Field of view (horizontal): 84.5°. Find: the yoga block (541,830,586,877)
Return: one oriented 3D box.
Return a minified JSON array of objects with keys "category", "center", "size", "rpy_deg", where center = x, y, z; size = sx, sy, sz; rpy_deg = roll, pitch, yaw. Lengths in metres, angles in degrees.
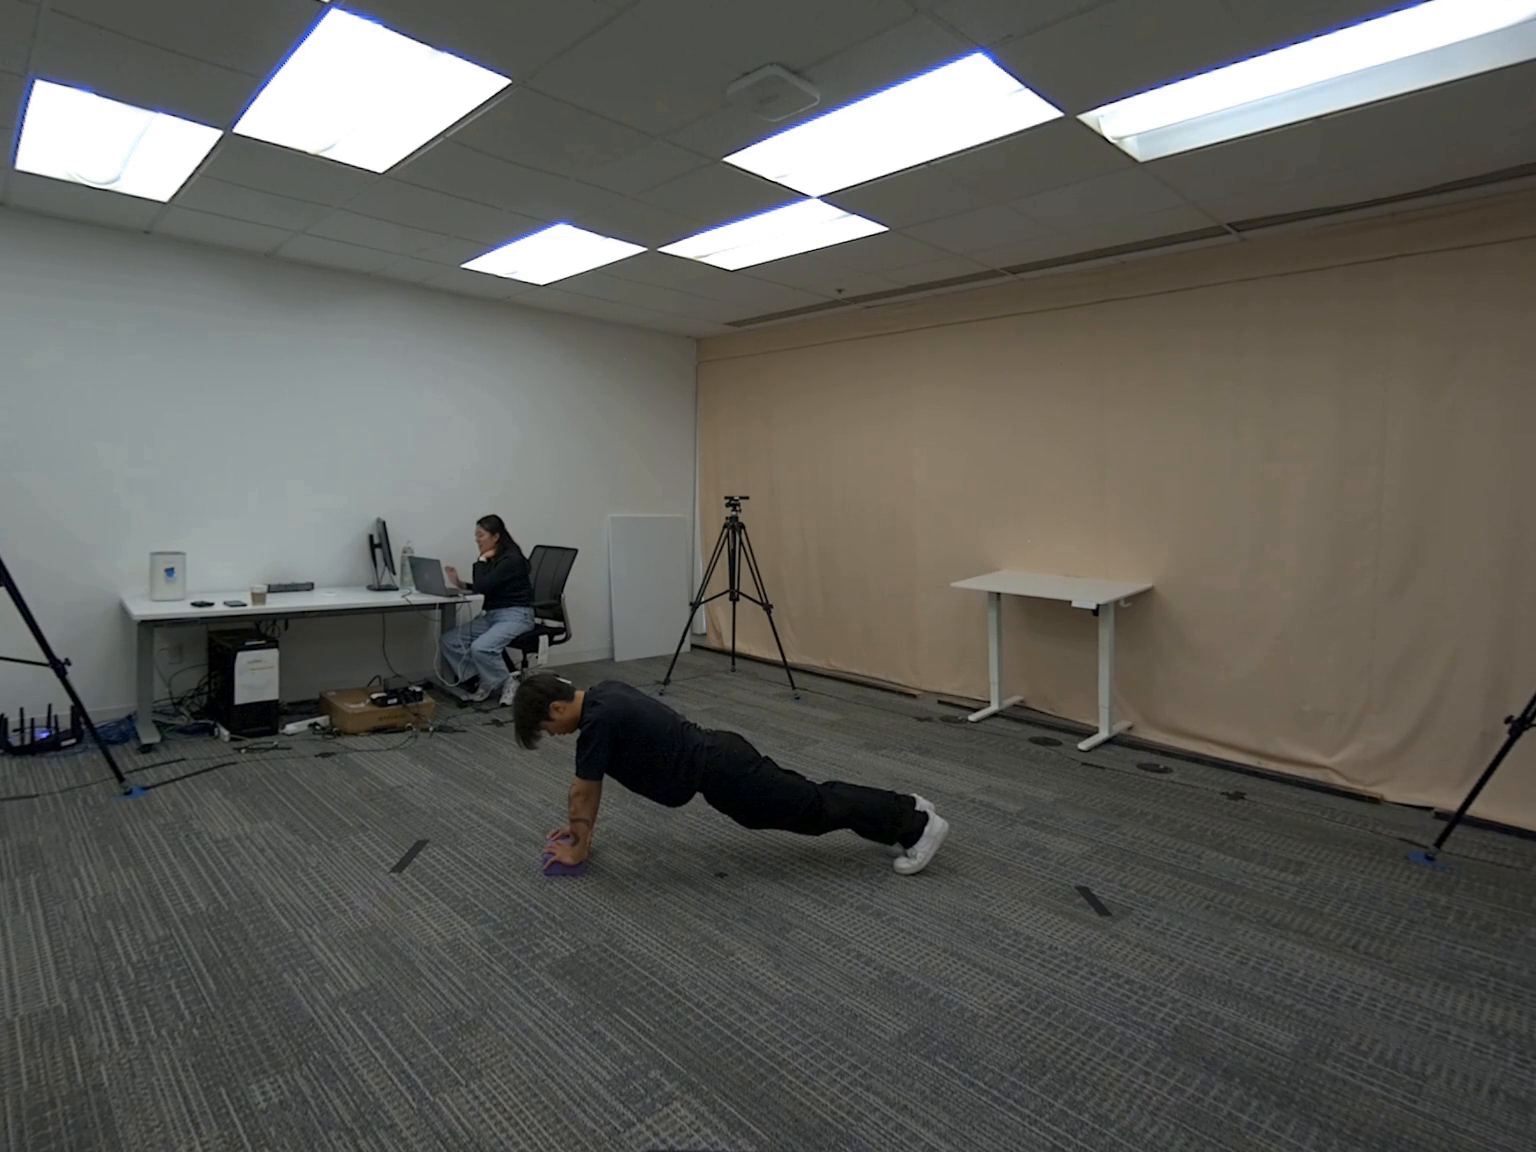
[{"category":"yoga block","center":[-0.765,1.042,3.177],"size":[0.148,0.076,0.231],"rpy_deg":[2,6,-7]}]
